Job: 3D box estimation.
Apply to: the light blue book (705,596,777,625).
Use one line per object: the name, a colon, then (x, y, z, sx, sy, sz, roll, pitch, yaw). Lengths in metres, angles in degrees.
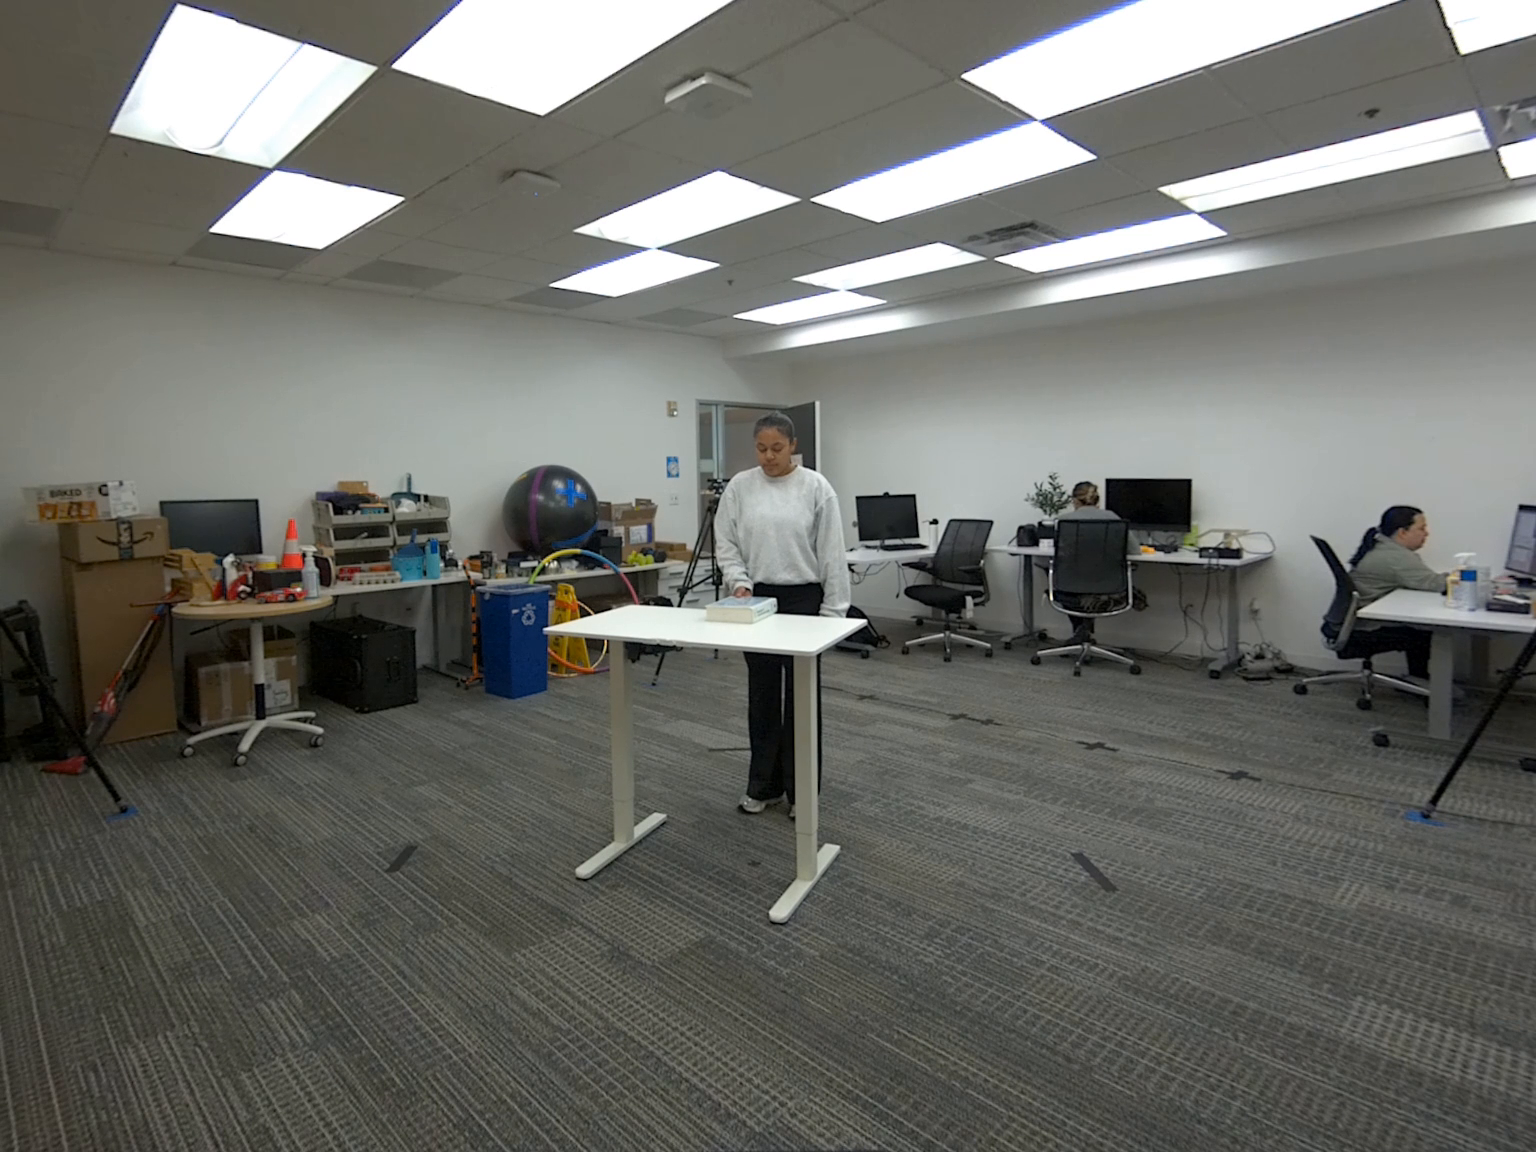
light blue book: (-0.111, 0.125, 3.192, 0.195, 0.059, 0.257, 2, 7, 20)
